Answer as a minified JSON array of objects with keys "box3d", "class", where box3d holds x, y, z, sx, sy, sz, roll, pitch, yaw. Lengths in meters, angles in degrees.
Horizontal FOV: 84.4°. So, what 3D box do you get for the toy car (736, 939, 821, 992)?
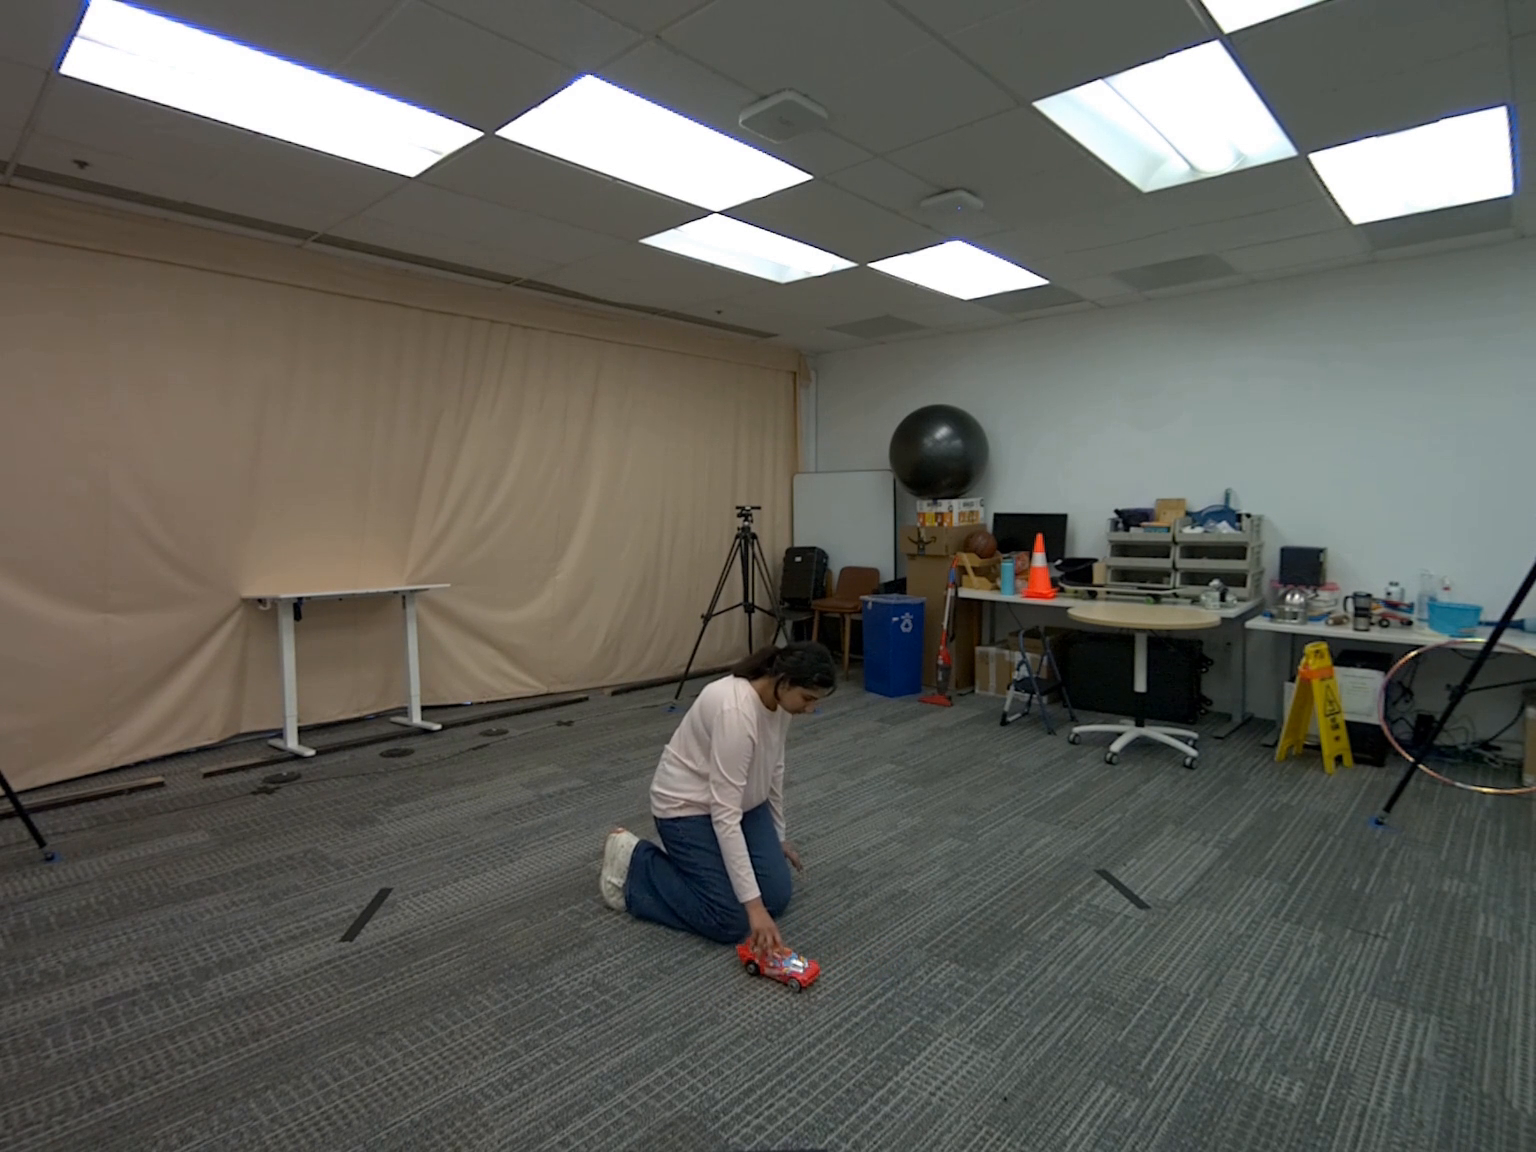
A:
[{"box3d":[0.026,1.148,2.506,0.263,0.083,0.126,16,14,35],"class":"toy car"}]
